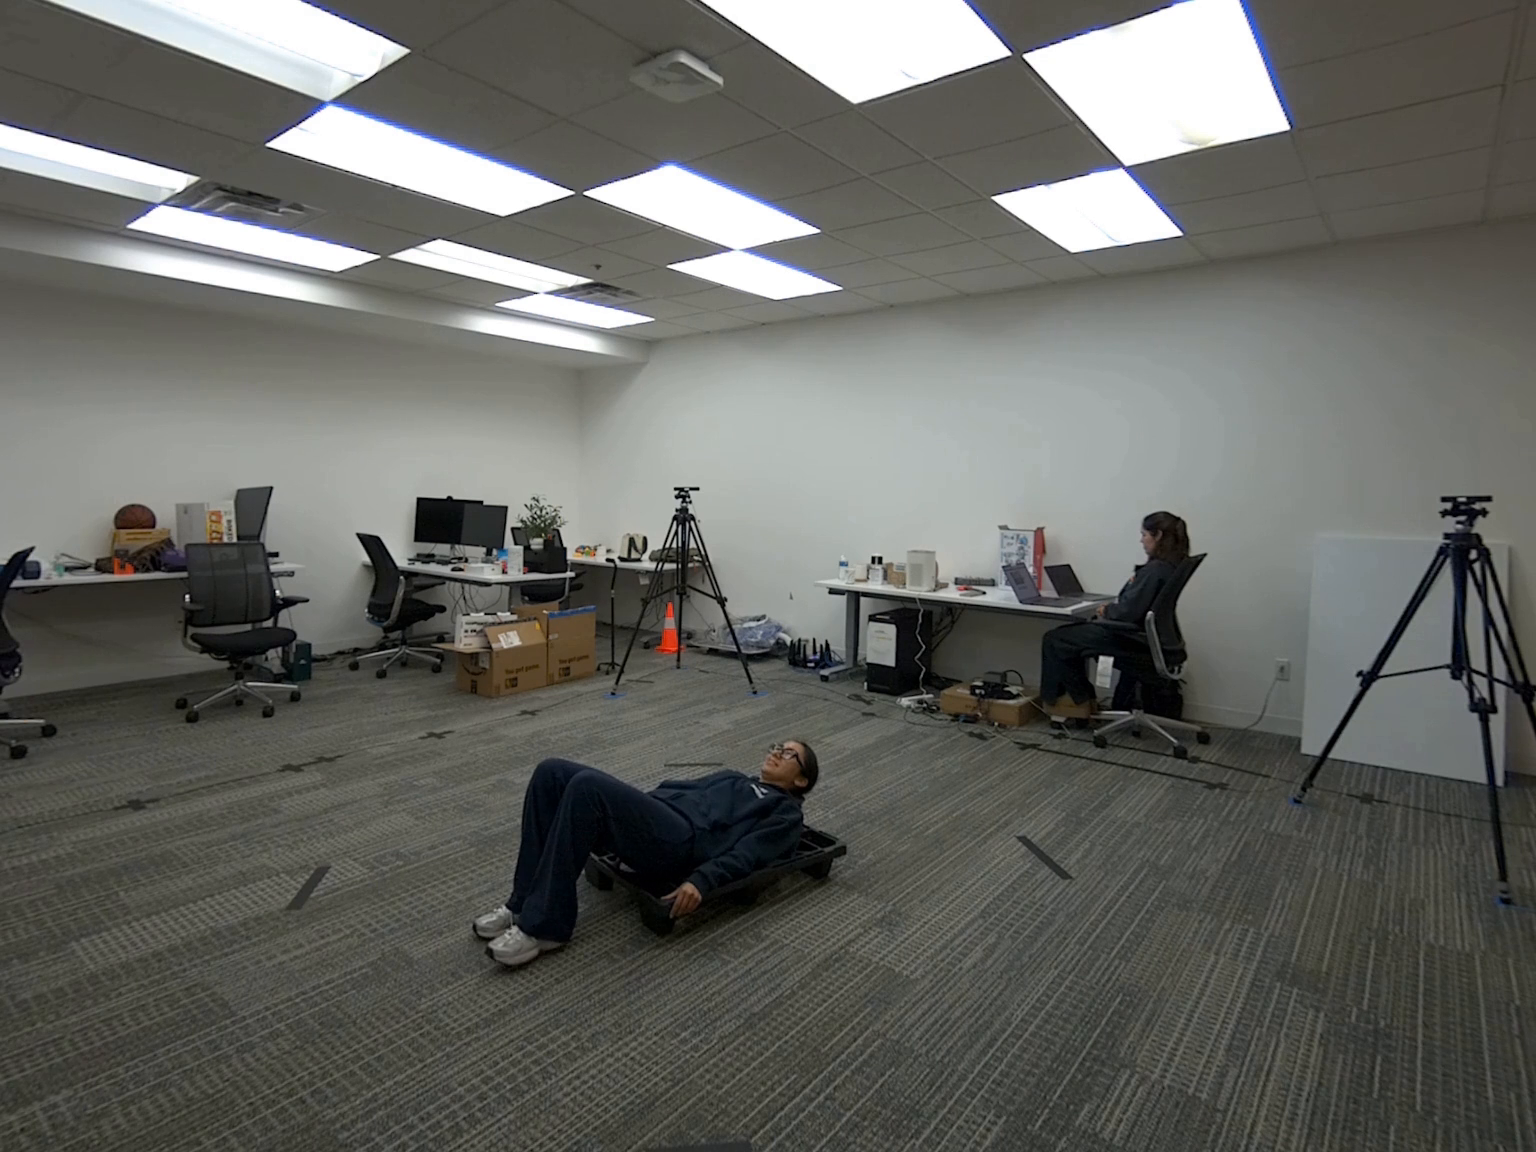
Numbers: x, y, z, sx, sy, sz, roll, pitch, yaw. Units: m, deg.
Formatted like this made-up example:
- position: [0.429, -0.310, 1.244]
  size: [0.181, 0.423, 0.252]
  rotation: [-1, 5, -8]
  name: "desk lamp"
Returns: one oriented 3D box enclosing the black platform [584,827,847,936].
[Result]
- position: [-0.204, 1.009, 3.024]
  size: [0.782, 0.143, 0.625]
  rotation: [-4, 6, -38]
  name: "black platform"
